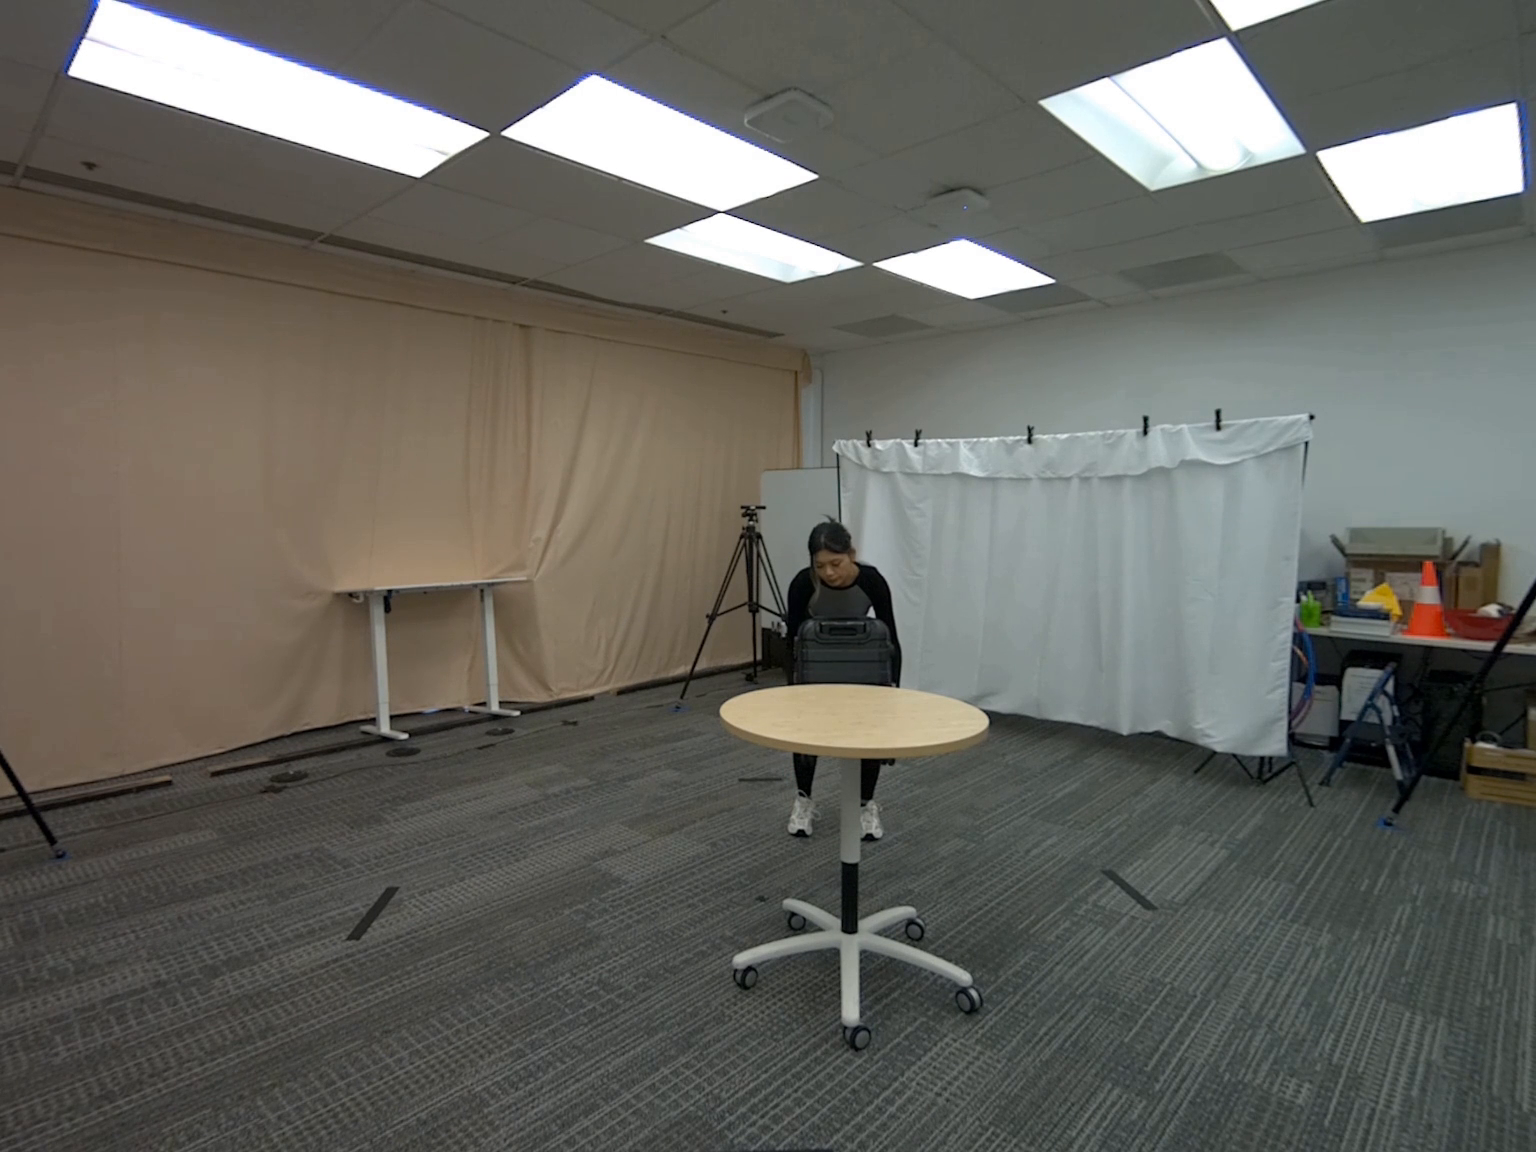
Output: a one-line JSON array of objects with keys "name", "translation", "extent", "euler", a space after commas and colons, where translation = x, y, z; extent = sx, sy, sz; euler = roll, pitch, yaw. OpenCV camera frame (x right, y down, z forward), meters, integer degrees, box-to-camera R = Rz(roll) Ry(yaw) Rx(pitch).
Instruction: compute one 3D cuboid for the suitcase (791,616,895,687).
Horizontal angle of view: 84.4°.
[{"name": "suitcase", "translation": [0.295, 0.426, 3.254], "extent": [0.379, 0.549, 0.246], "euler": [-2, 0, 9]}]
